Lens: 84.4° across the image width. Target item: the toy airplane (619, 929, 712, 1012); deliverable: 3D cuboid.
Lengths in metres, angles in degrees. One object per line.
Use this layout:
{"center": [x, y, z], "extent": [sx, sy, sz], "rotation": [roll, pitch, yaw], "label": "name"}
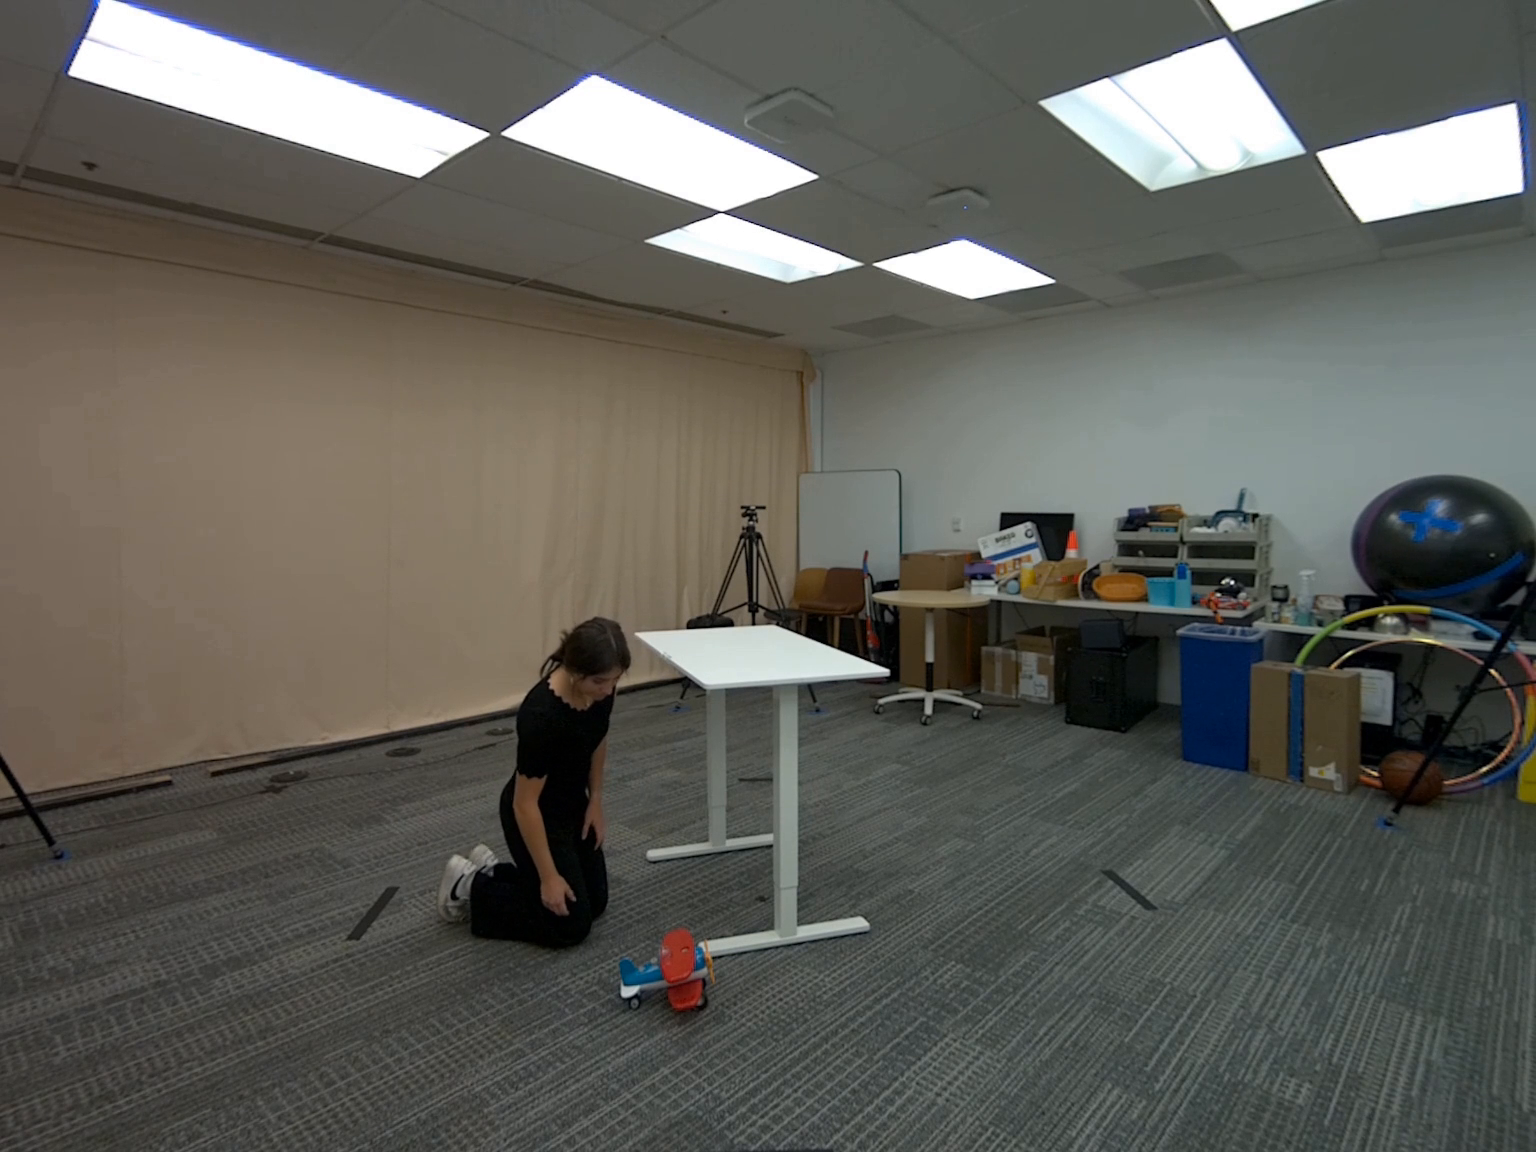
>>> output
{"center": [-0.275, 1.126, 2.338], "extent": [0.252, 0.156, 0.259], "rotation": [-3, 5, -35], "label": "toy airplane"}
